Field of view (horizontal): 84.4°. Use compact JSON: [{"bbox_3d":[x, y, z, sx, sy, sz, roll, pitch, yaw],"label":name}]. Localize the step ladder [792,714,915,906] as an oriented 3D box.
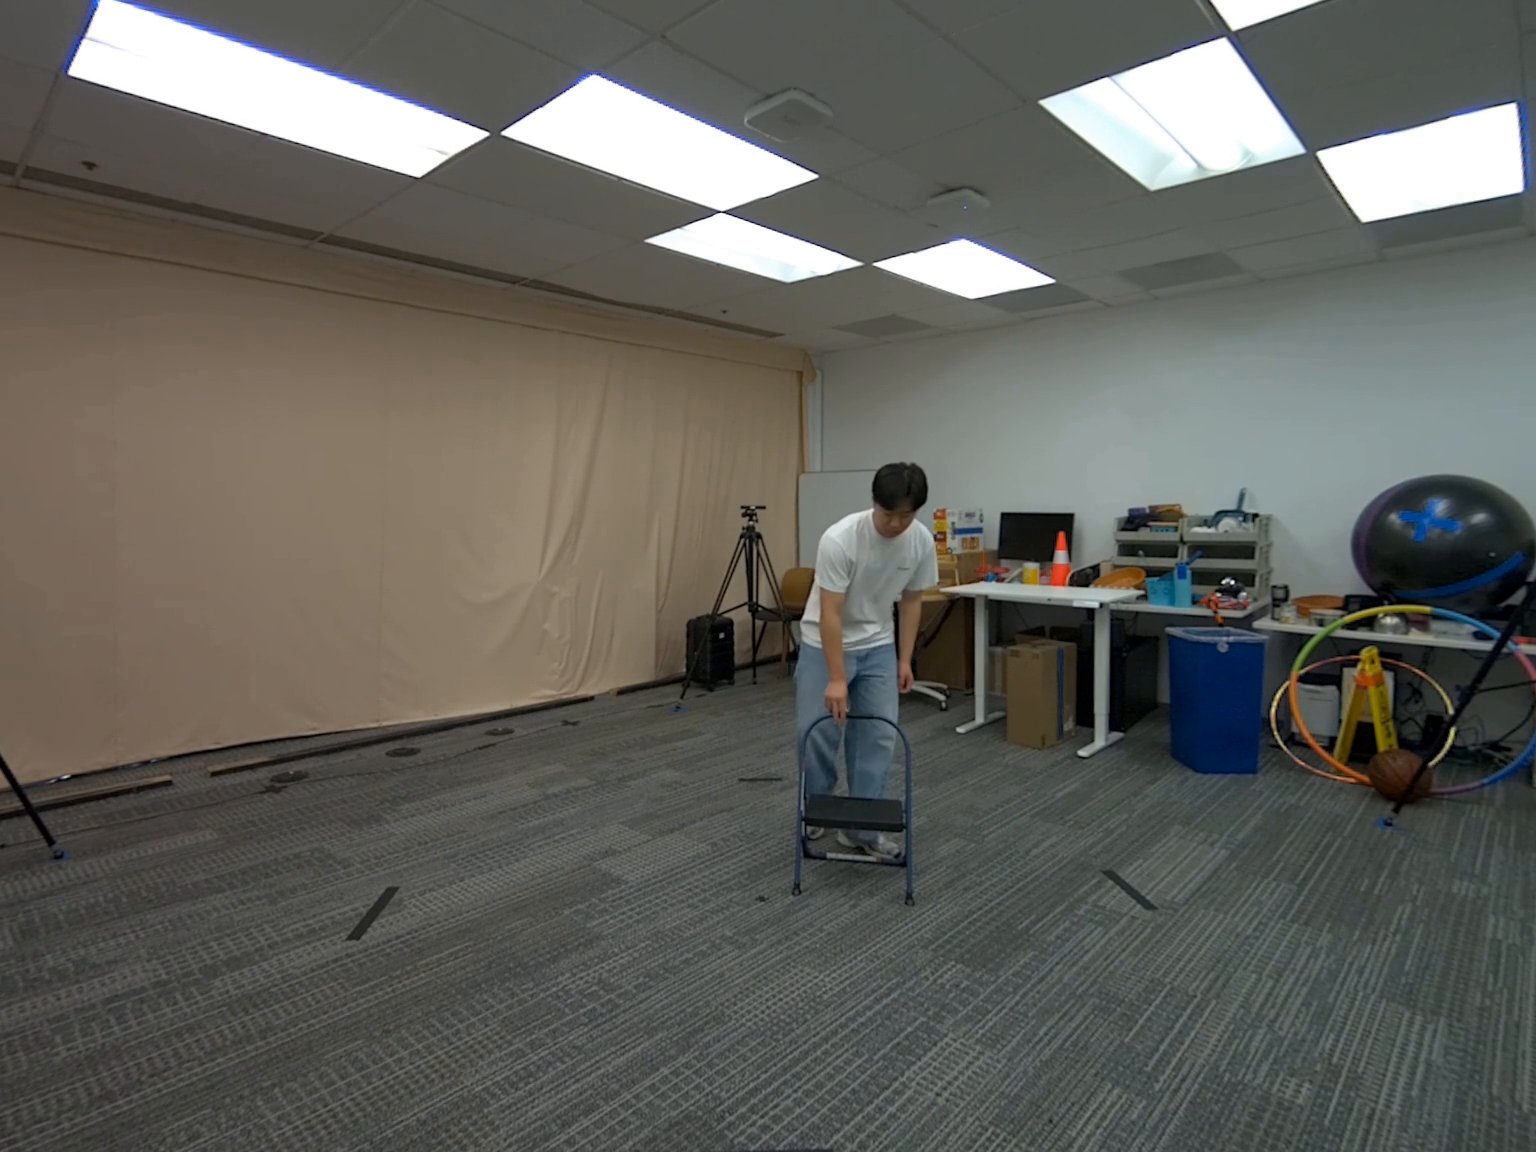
[{"bbox_3d":[0.327,0.823,3.126,0.436,0.605,0.346,0,3,10],"label":"step ladder"}]
